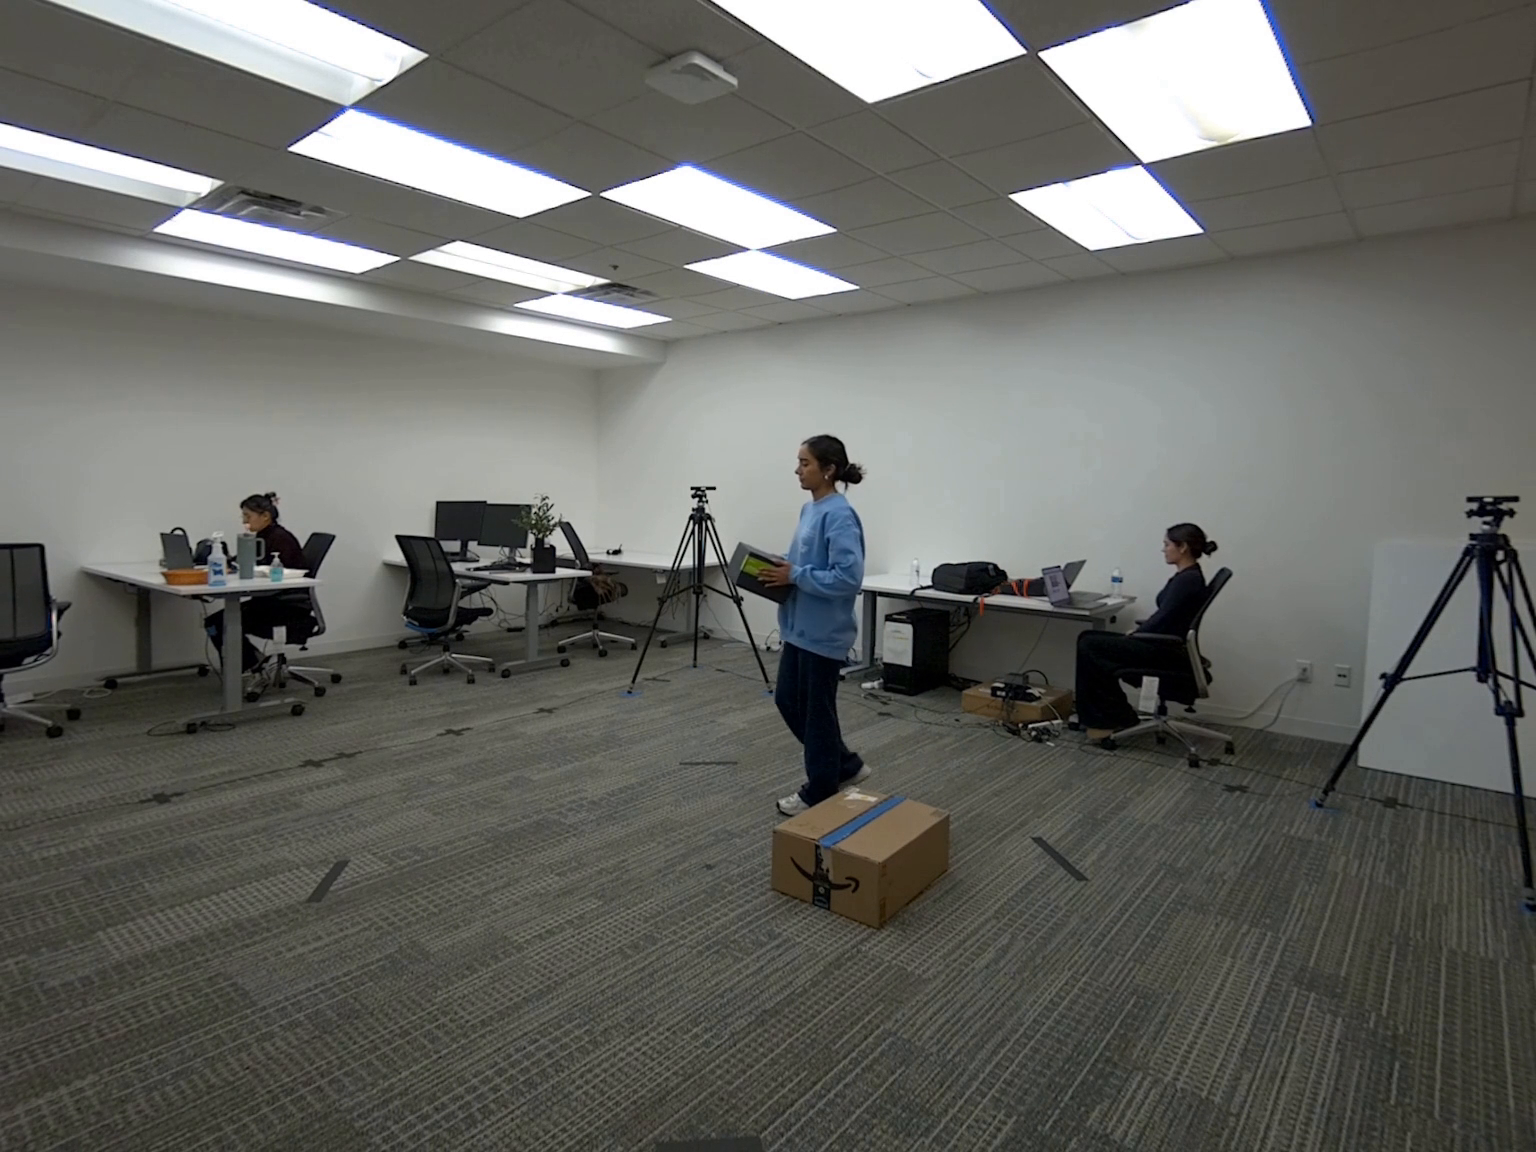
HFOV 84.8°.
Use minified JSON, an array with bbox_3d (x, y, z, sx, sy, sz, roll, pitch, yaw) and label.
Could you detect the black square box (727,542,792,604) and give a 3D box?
[{"bbox_3d":[-0.033,-0.014,3.576,0.224,0.155,0.221,22,6,-14],"label":"black square box"}]
